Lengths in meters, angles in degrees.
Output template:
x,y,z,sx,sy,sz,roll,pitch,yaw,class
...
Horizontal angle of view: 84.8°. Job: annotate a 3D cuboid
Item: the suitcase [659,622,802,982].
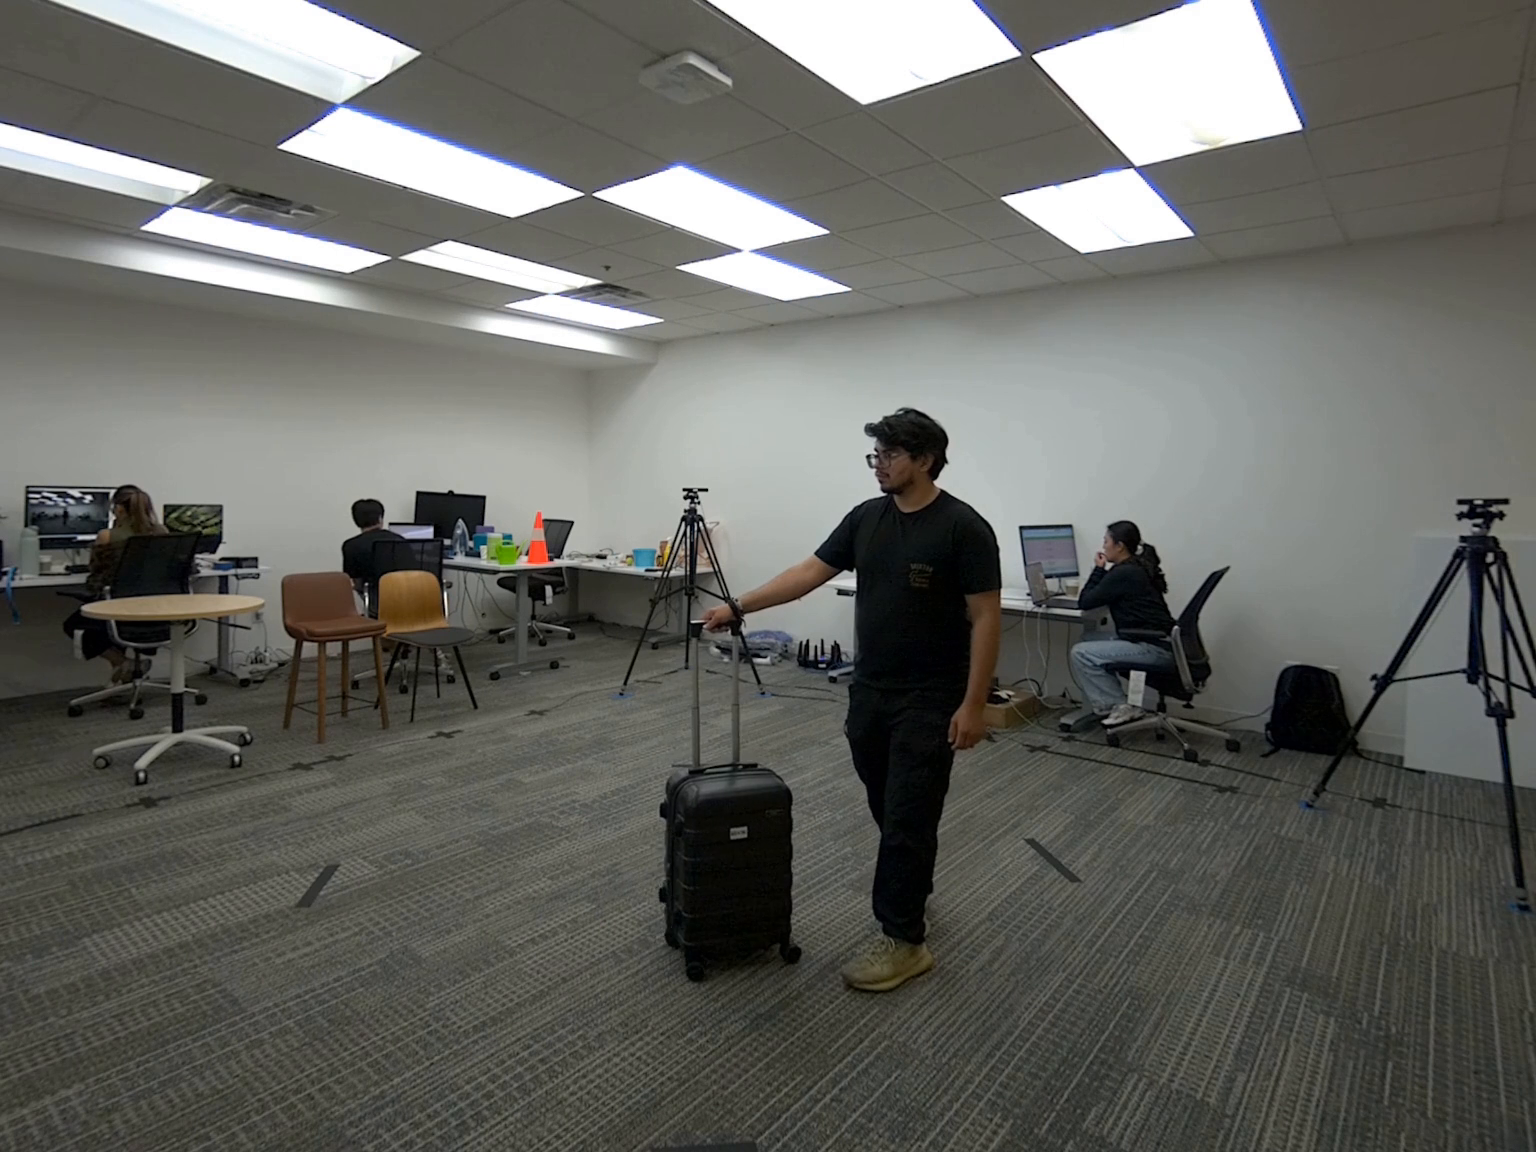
x,y,z,sx,sy,sz,roll,pitch,yaw,class
-0.129,0.655,2.529,0.377,0.974,0.263,-2,4,-19,suitcase
